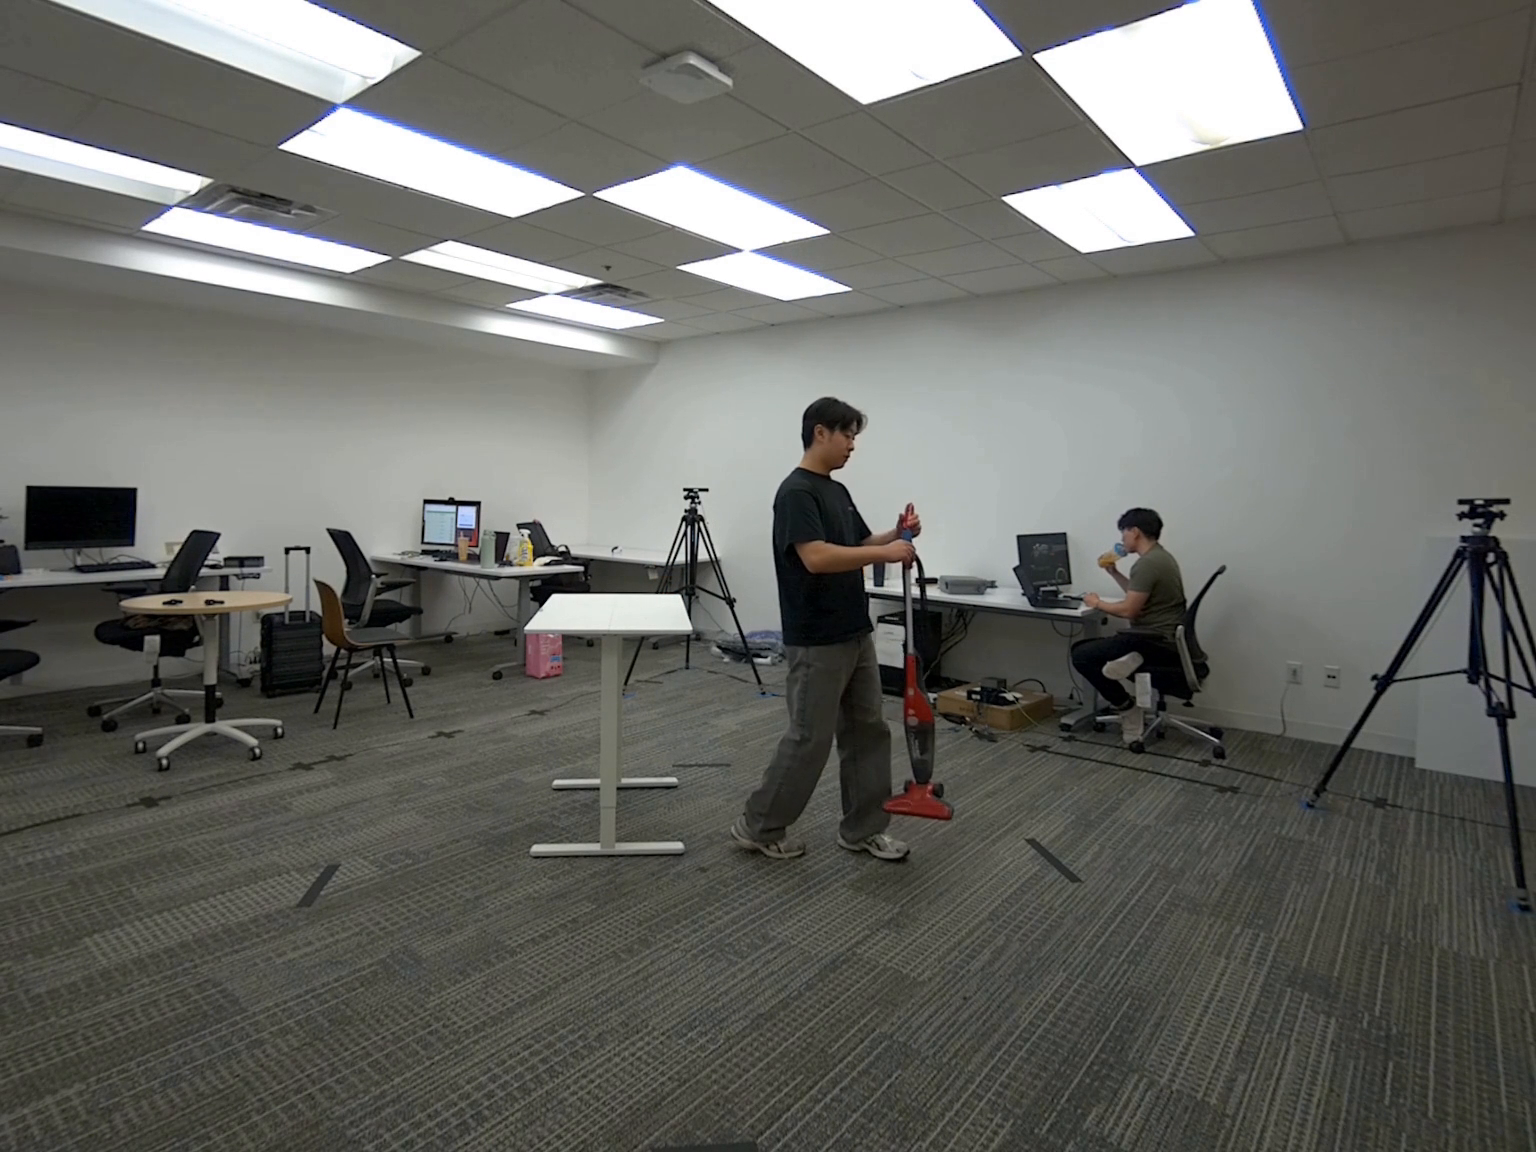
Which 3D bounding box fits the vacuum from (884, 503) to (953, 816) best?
[{"bbox_3d":[0.530,0.276,3.063,0.259,1.055,0.140,-3,-6,26],"label":"vacuum"}]
